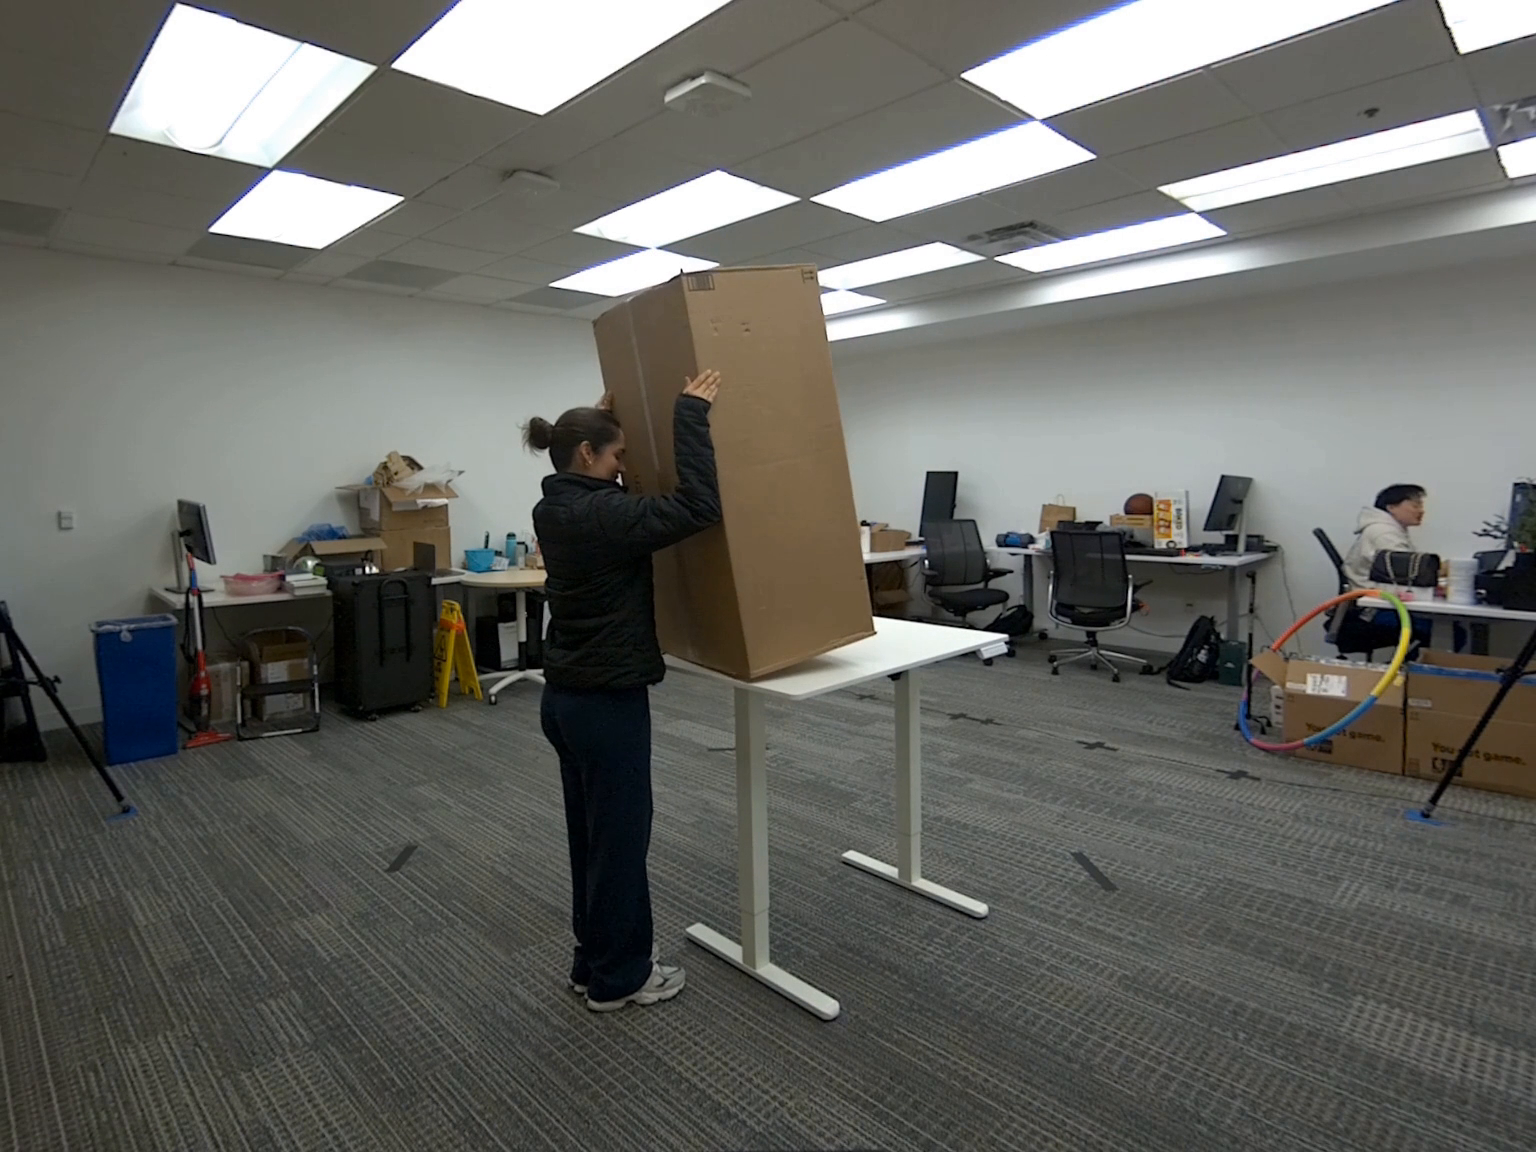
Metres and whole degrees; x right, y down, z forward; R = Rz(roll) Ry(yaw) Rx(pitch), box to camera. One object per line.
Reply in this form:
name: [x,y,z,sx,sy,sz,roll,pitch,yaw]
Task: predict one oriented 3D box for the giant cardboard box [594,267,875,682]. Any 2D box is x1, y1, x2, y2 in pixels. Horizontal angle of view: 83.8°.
giant cardboard box: [-0.110,-0.300,2.471,0.438,1.020,0.599,-13,7,-30]
